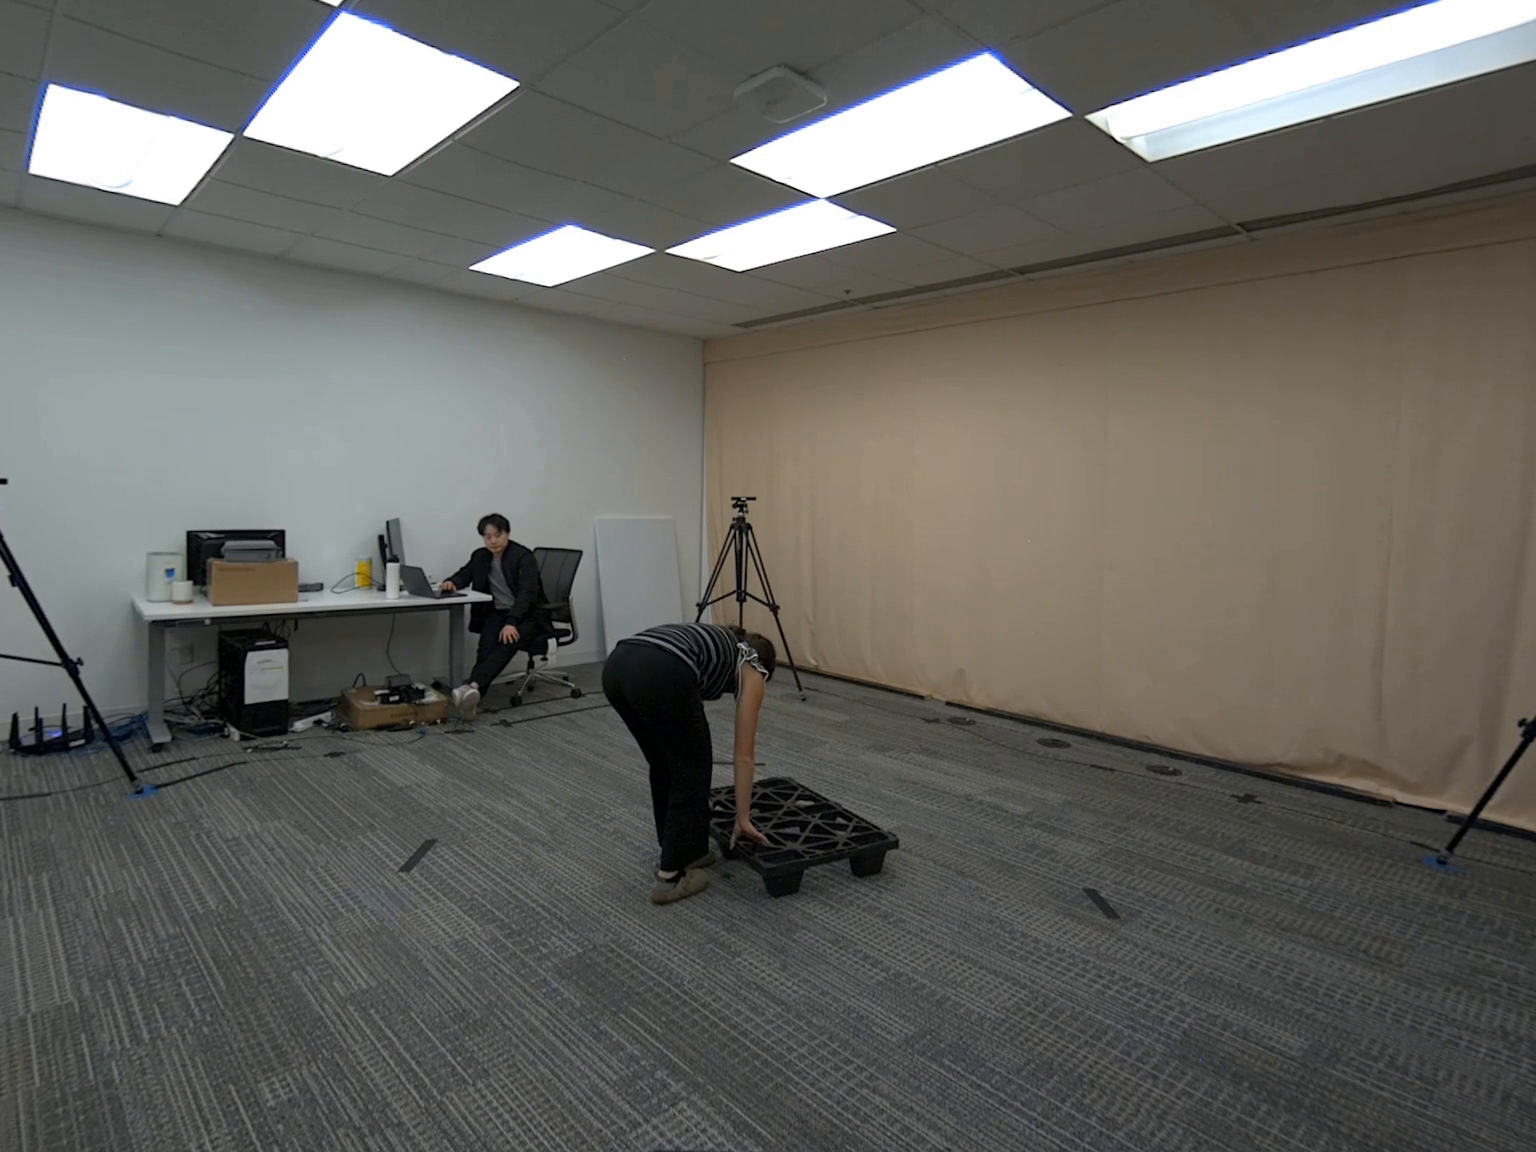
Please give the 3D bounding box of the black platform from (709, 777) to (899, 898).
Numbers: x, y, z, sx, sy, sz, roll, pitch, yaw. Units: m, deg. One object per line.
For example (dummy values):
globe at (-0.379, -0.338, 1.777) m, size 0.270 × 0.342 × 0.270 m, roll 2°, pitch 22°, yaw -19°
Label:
black platform at (0.036, 1.020, 3.363) m, size 0.593 × 0.143 × 0.824 m, roll -1°, pitch 5°, yaw -29°
